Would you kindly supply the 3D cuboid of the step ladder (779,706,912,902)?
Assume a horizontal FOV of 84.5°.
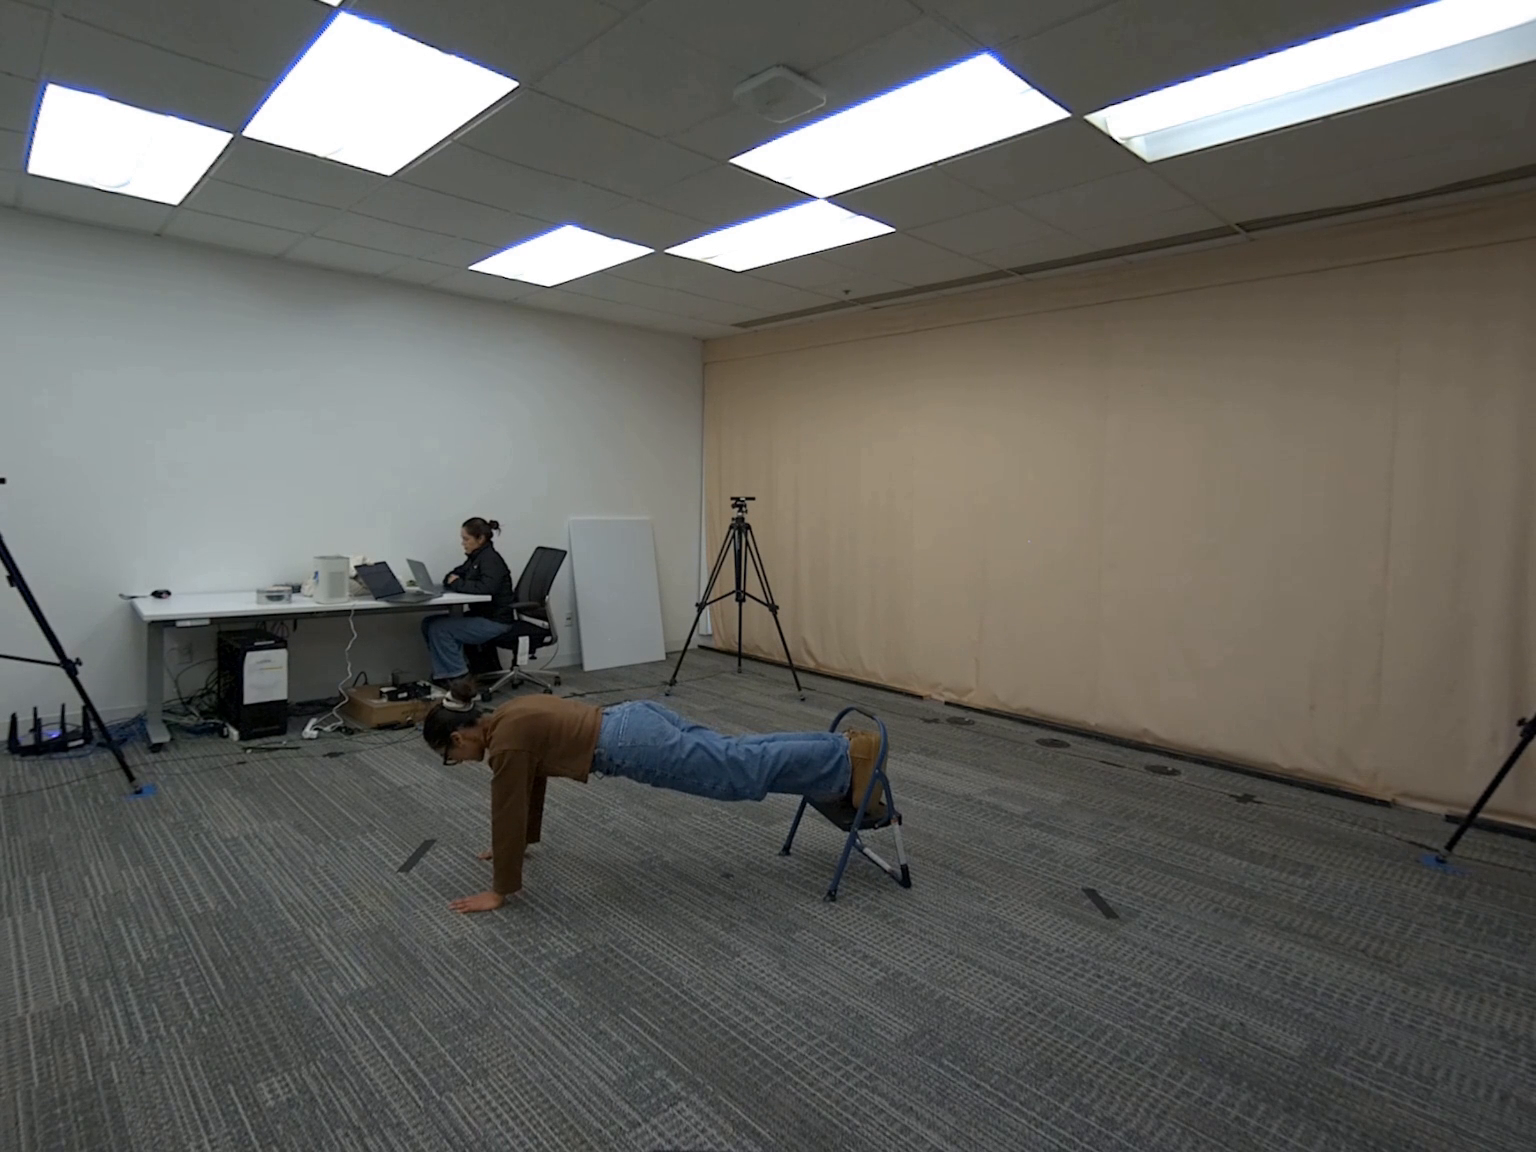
[{"bbox_3d":[0.284,0.810,3.157,0.343,0.605,0.439,0,4,-22],"label":"step ladder"}]
